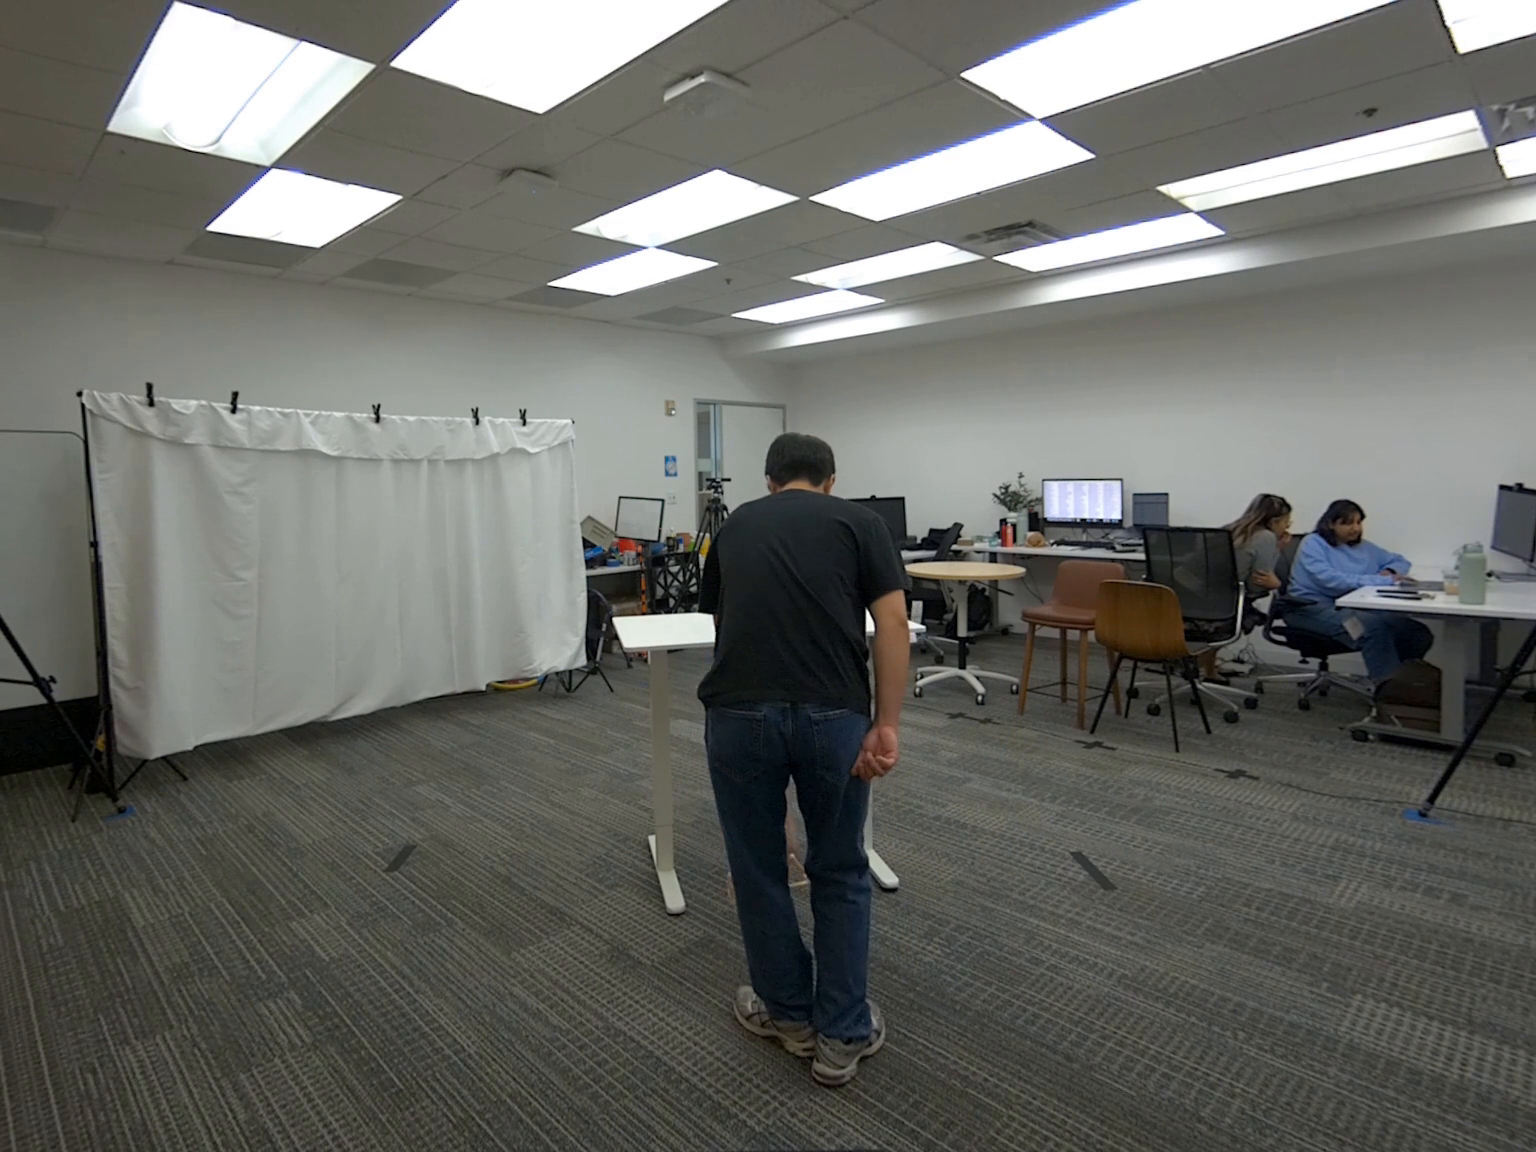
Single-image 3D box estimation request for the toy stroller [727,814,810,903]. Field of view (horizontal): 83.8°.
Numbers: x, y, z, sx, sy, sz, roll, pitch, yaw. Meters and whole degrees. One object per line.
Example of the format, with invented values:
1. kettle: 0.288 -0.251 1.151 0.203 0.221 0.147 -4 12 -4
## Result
1. toy stroller: -0.010 0.755 2.594 0.279 0.542 0.340 -7 -12 -12
